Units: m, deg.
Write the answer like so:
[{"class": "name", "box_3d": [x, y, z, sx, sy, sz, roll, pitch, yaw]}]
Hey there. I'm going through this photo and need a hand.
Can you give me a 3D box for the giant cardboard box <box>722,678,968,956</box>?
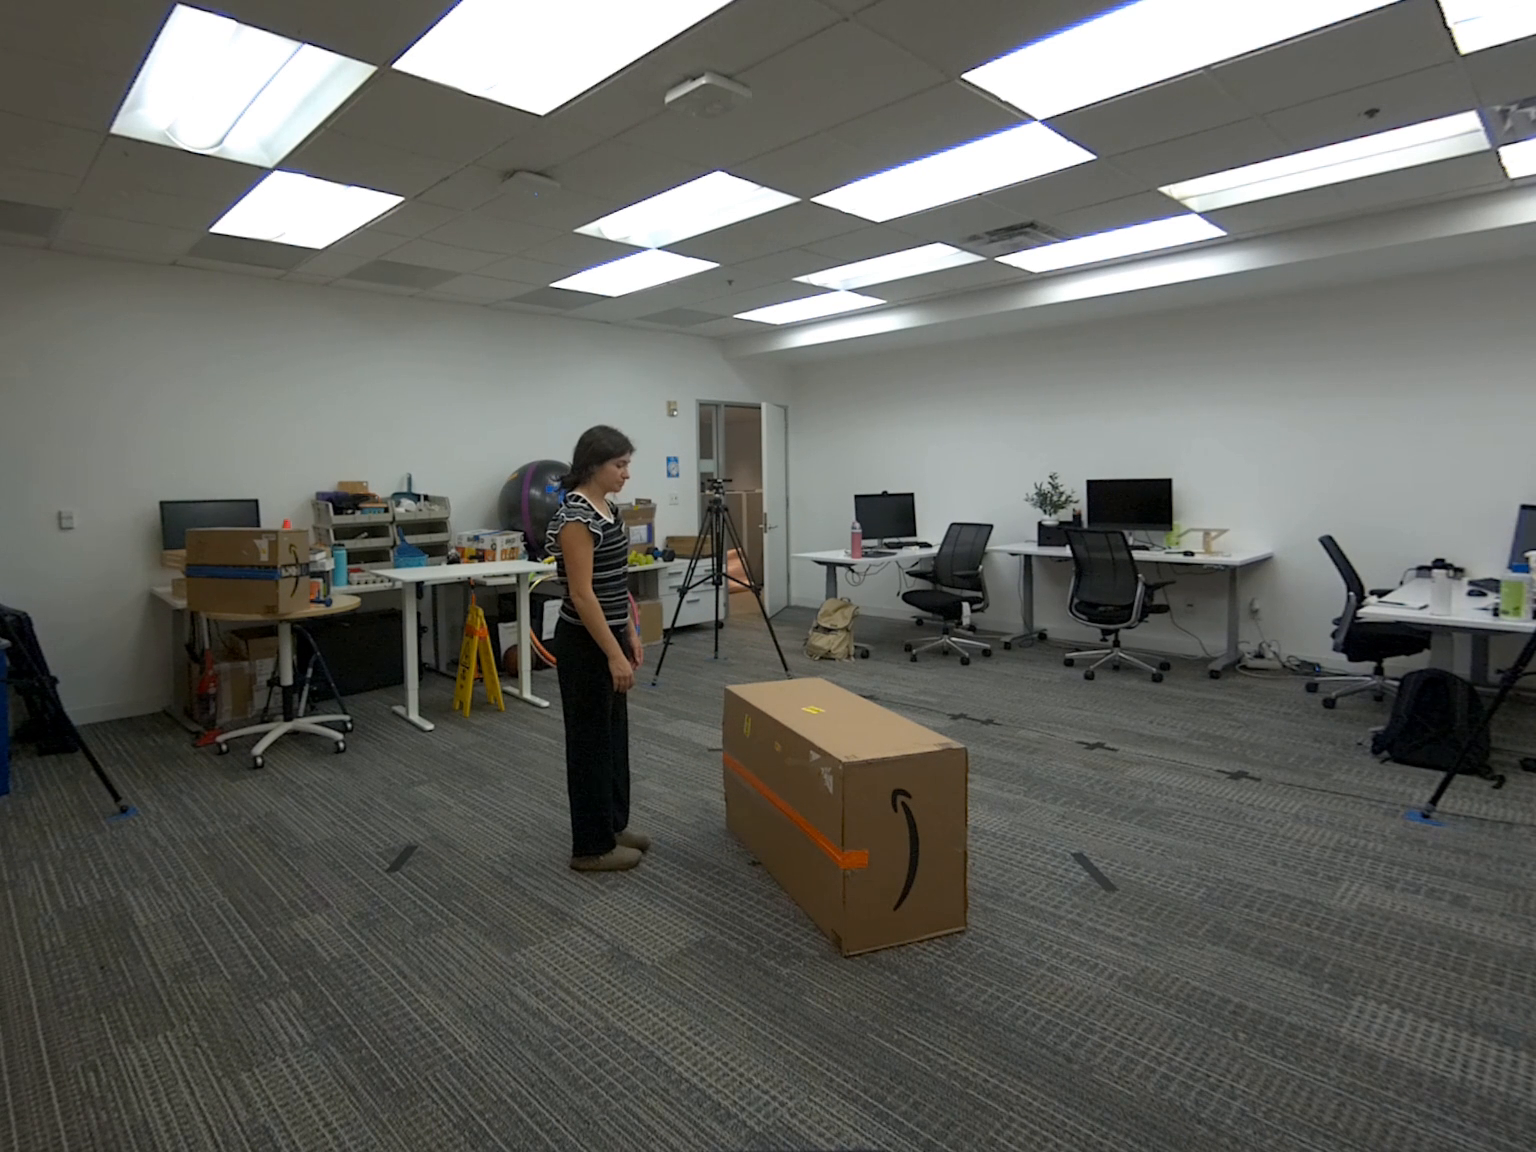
[{"class": "giant cardboard box", "box_3d": [0.220, 0.763, 3.014, 0.418, 0.575, 1.049, -2, 6, -22]}]
